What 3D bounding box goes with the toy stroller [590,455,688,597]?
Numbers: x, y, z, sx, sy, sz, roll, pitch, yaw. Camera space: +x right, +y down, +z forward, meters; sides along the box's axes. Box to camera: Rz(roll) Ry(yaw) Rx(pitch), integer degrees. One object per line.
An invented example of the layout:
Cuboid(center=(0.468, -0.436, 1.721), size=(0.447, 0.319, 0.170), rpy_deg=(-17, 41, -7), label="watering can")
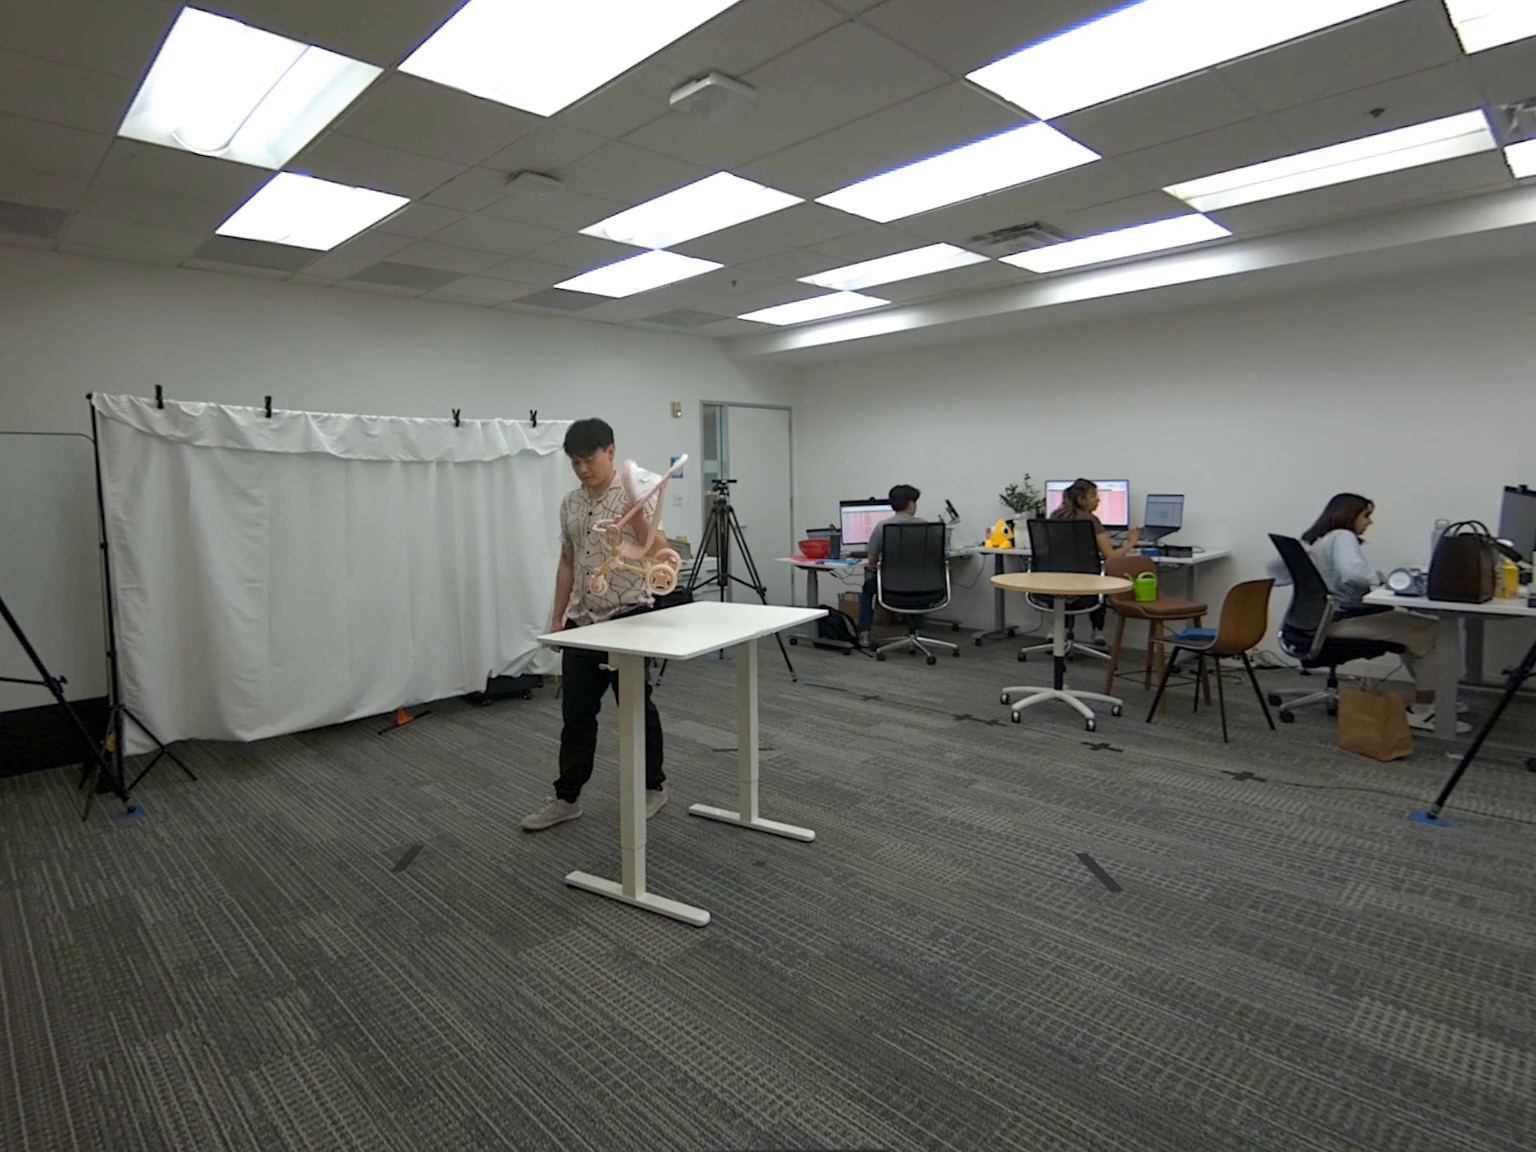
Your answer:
Cuboid(center=(-0.490, -0.178, 3.089), size=(0.343, 0.529, 0.283), rpy_deg=(4, 13, 3), label="toy stroller")
